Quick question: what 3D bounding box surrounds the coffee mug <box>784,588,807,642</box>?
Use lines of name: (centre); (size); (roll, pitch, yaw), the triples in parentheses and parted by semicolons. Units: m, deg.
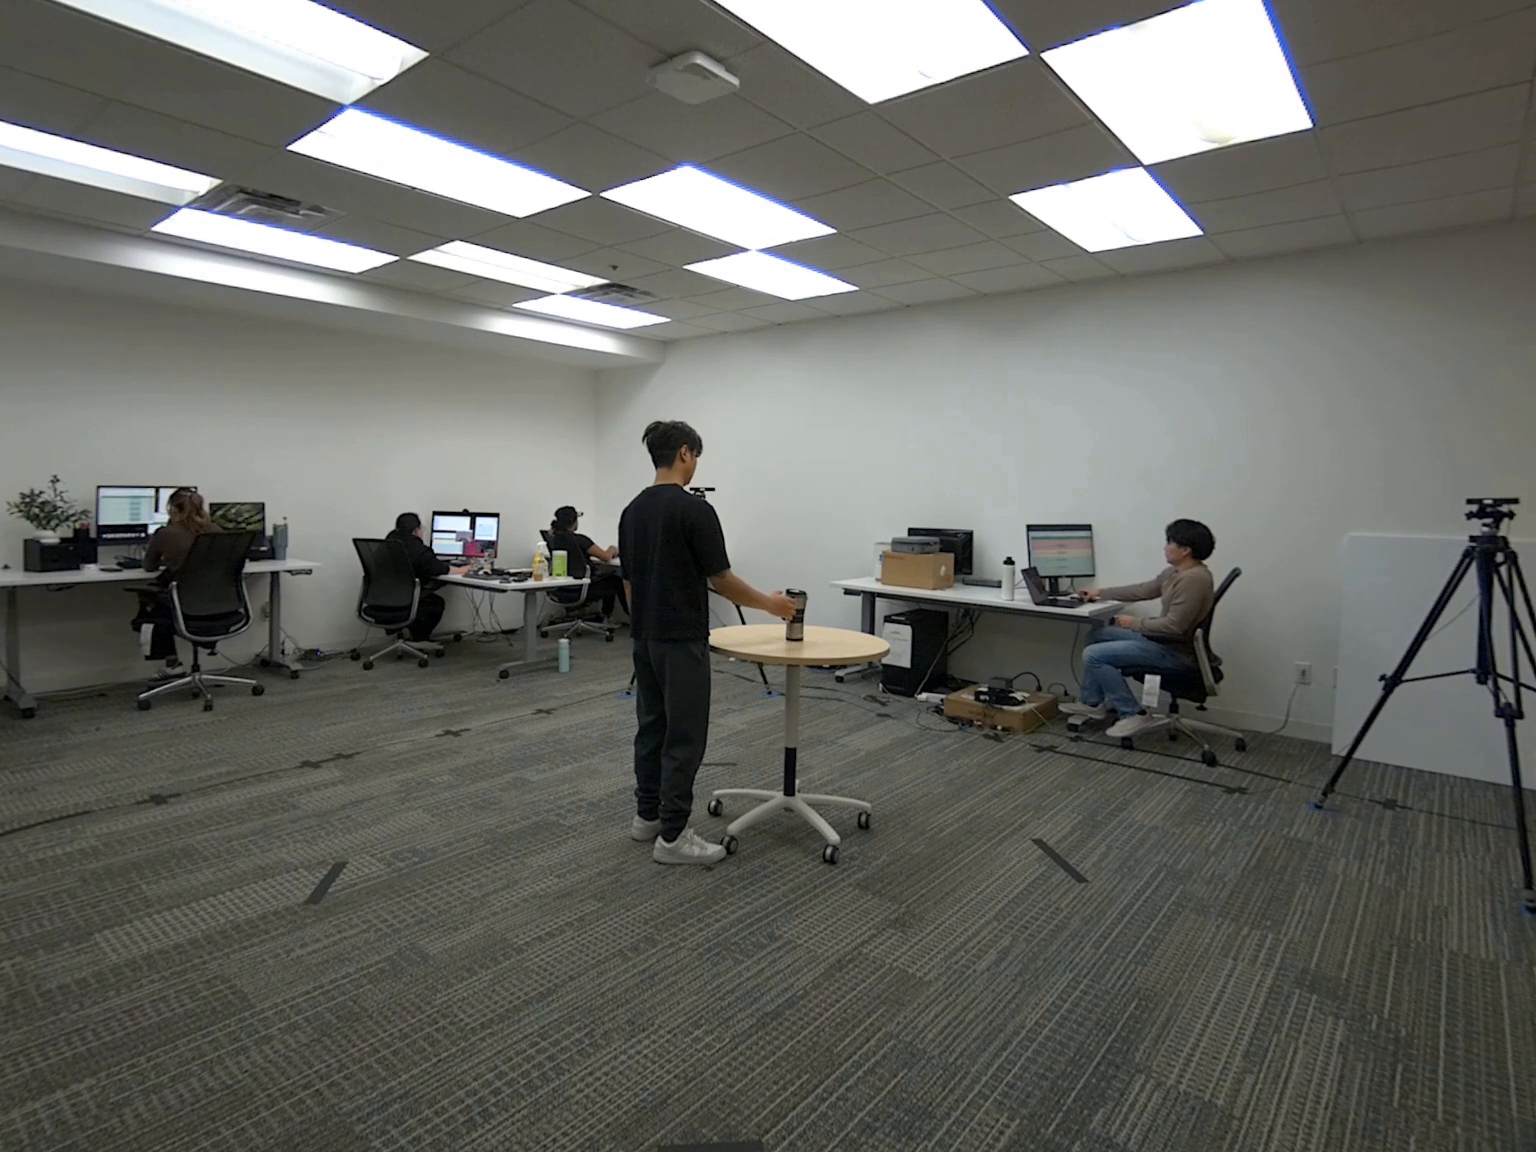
coffee mug: (0.086, 0.159, 3.454); (0.126, 0.201, 0.085); (9, 12, 40)
